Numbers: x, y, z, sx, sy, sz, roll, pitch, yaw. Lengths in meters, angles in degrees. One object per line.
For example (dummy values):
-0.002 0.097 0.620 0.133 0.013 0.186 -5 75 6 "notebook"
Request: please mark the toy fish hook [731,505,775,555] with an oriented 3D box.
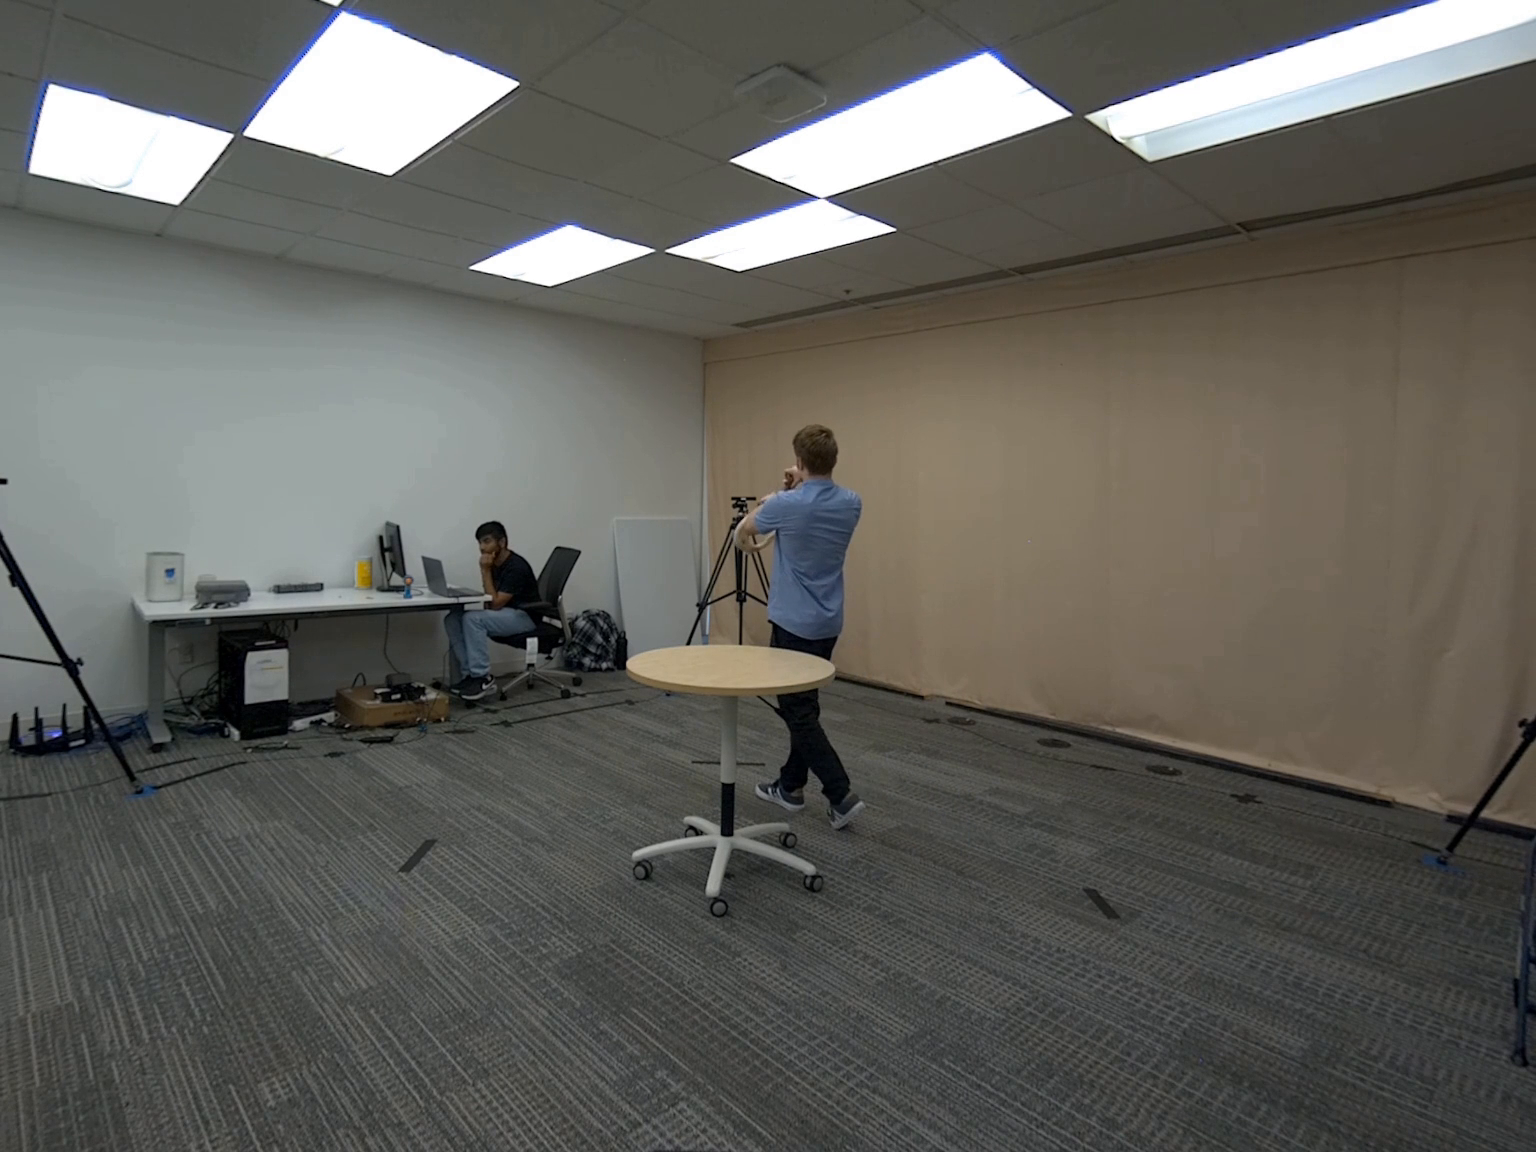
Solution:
0.027 -0.315 4.140 0.217 0.506 0.050 42 1 -43 "toy fish hook"
